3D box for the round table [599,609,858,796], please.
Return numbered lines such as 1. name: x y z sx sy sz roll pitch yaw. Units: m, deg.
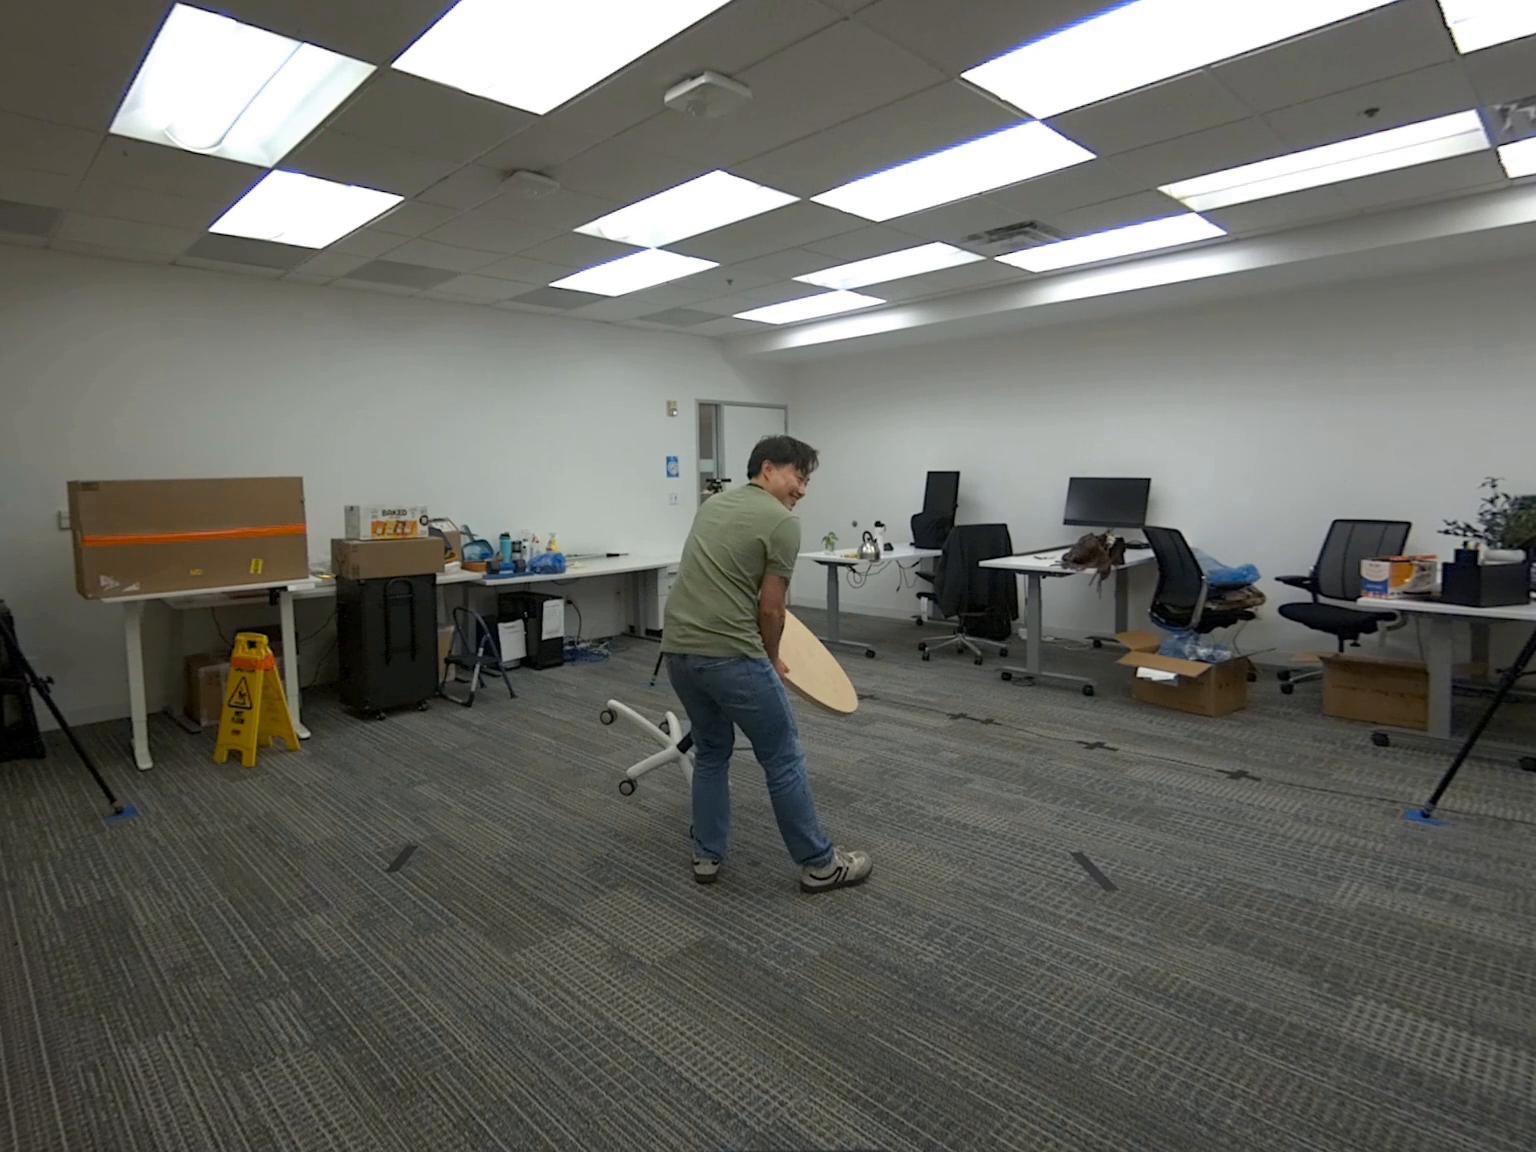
1. round table: -0.193 0.529 3.460 0.753 0.793 0.776 39 12 -12
